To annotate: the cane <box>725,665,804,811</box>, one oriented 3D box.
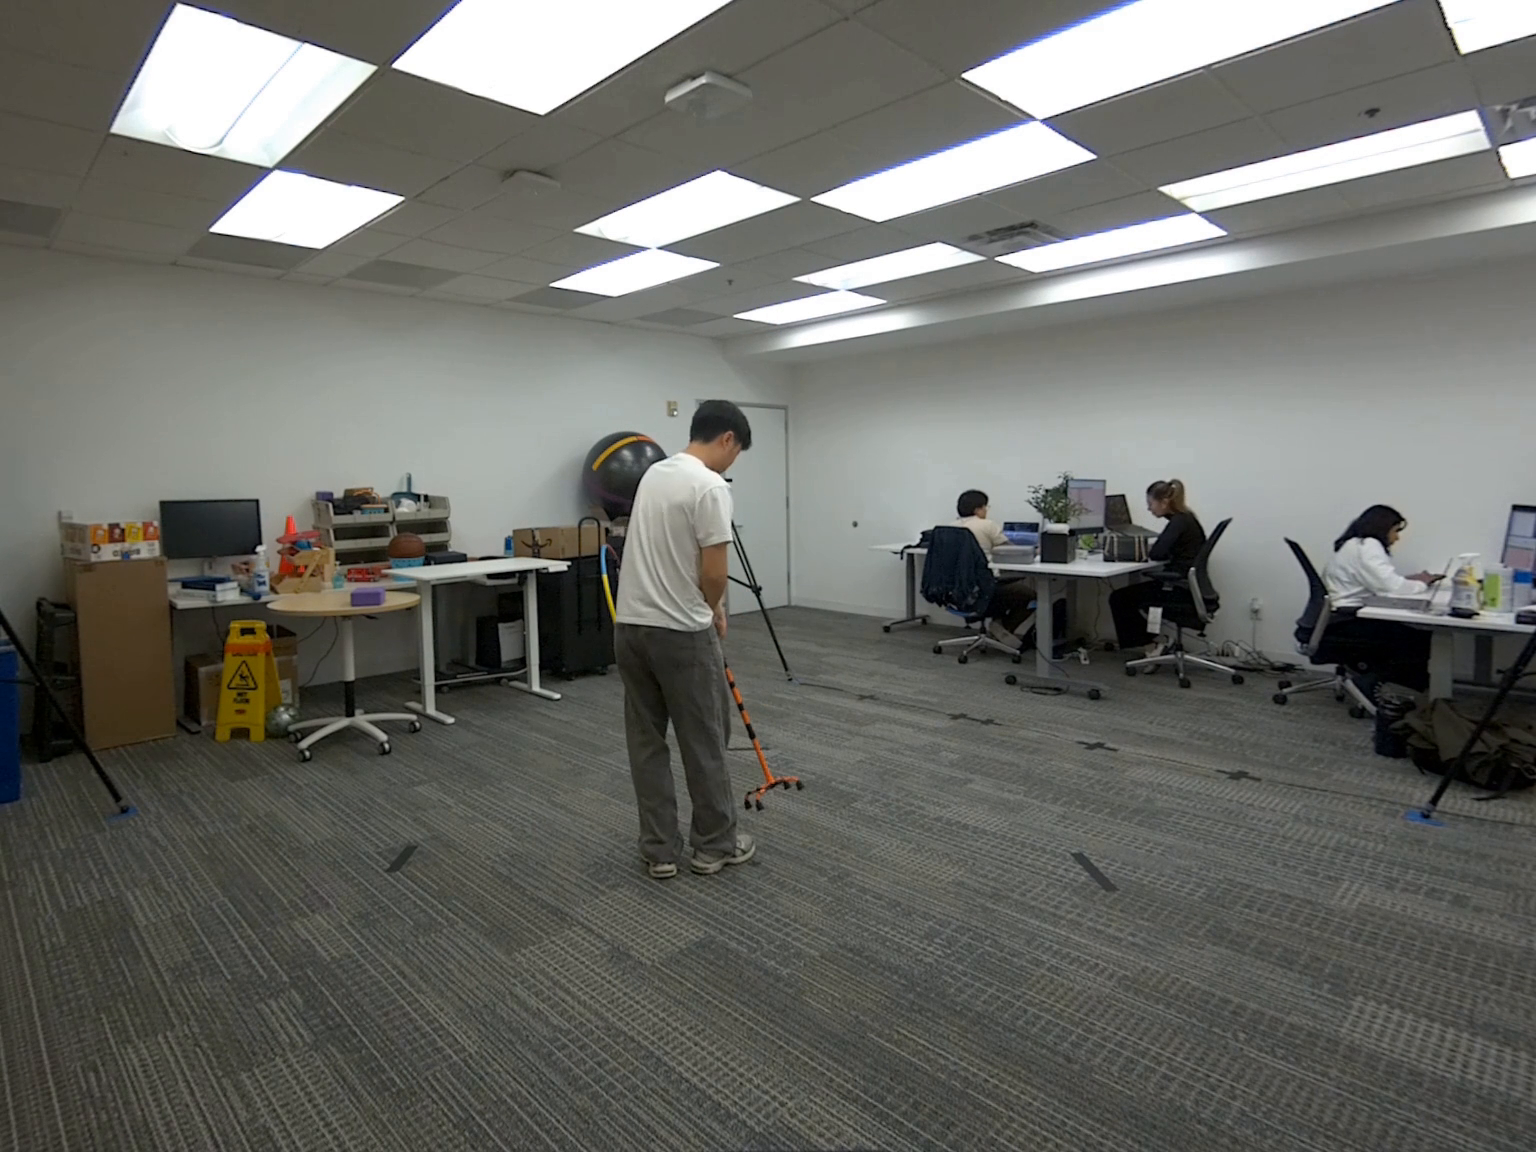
[{"bbox_3d":[-0.135,0.403,3.261,0.204,0.916,0.152,-18,-8,-21],"label":"cane"}]
